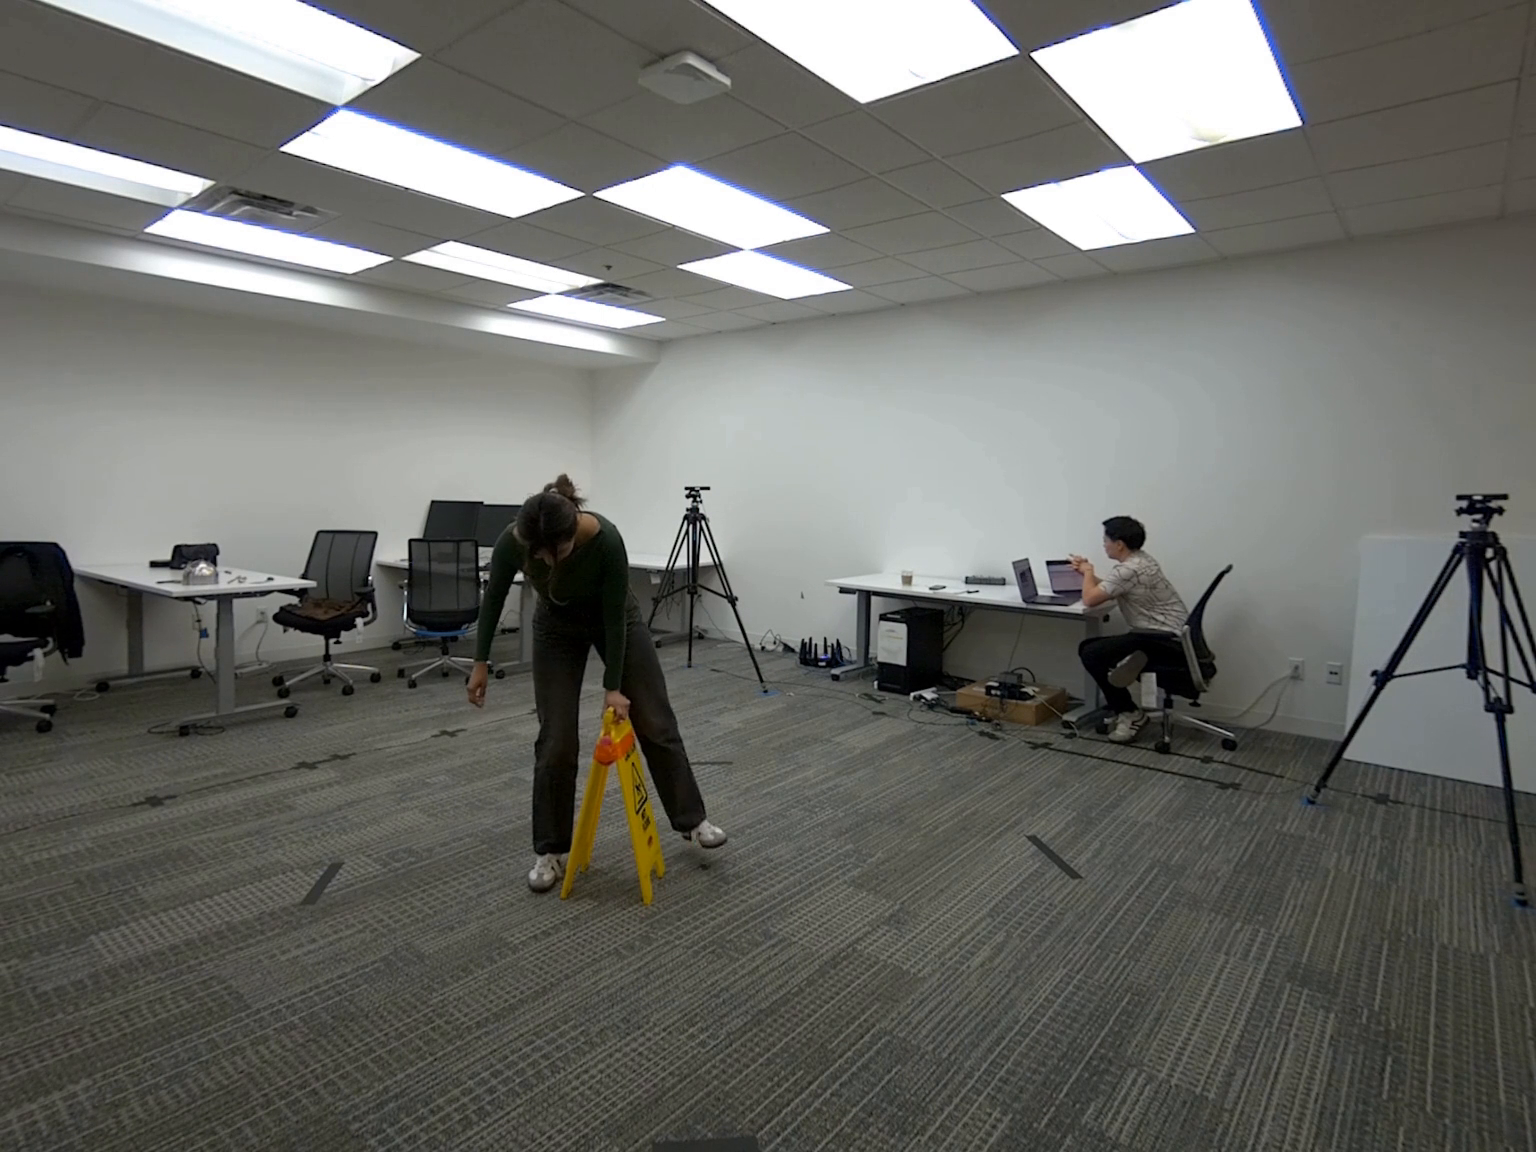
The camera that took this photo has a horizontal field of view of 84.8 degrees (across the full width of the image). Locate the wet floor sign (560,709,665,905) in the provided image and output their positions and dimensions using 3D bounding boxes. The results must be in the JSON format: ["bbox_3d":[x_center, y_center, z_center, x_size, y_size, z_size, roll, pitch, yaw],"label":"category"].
[{"bbox_3d":[-0.538,0.760,2.944,0.292,0.643,0.281,1,6,7],"label":"wet floor sign"}]
